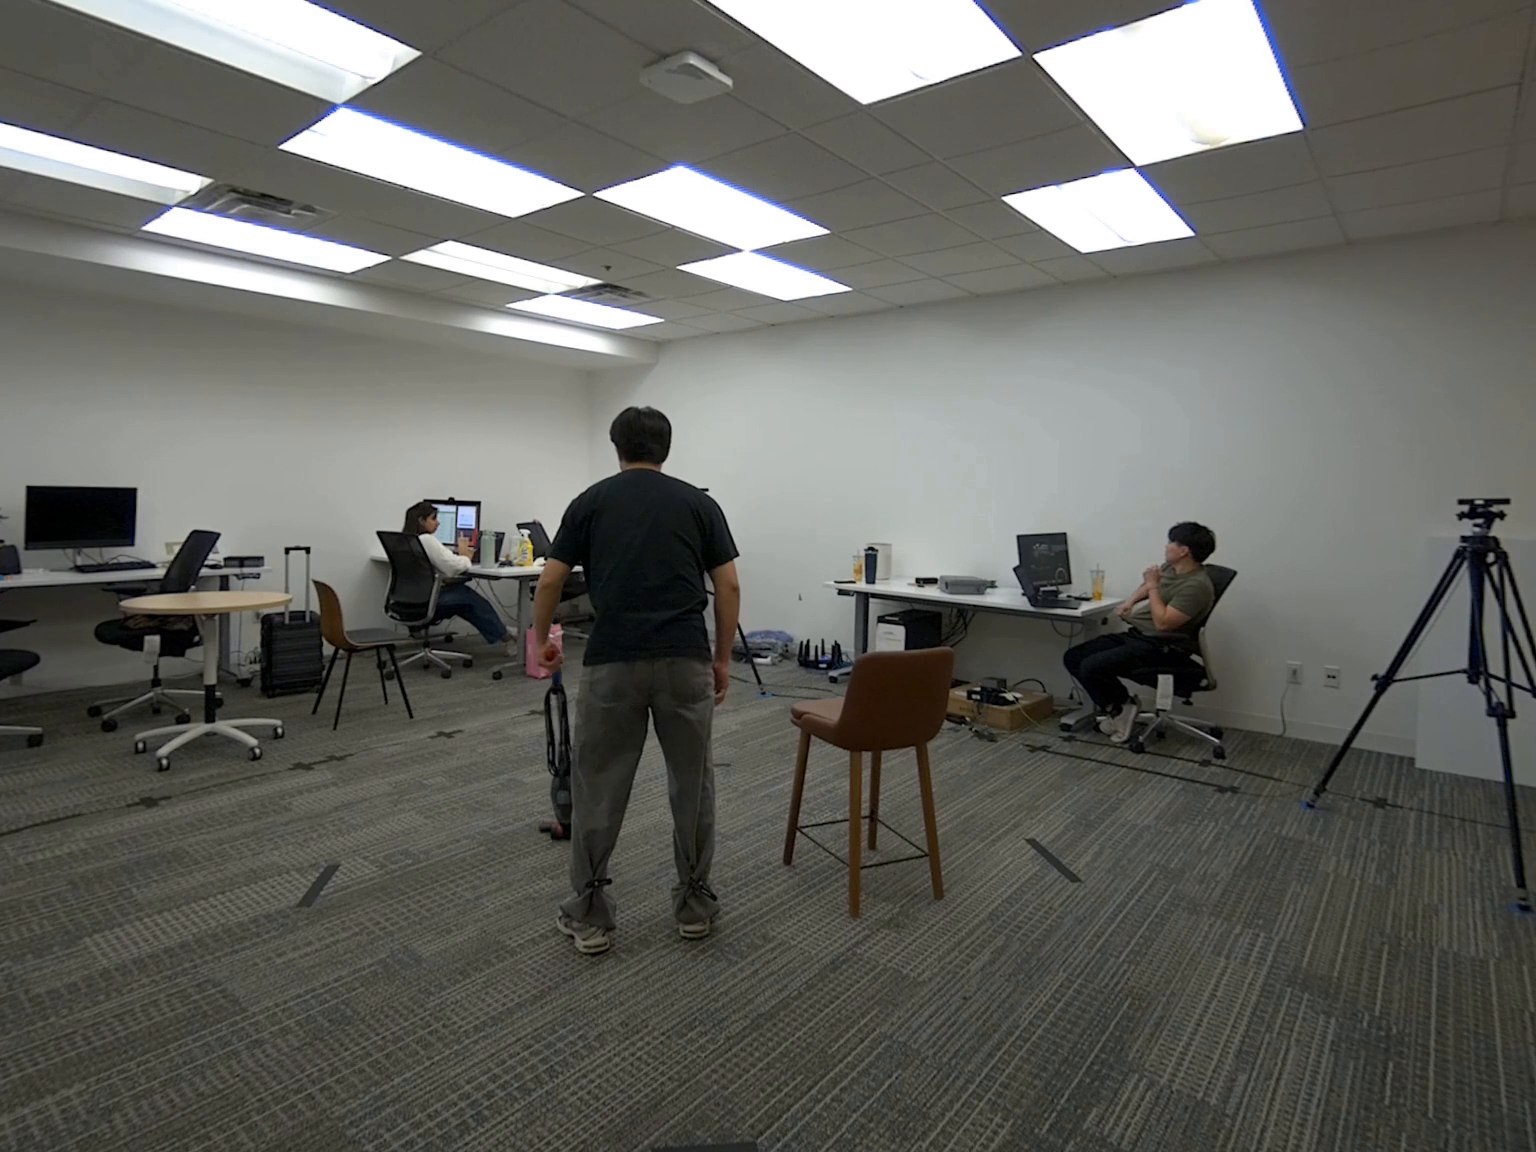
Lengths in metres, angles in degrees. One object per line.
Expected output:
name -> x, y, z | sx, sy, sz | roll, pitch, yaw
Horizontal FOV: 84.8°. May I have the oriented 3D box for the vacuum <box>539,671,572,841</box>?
vacuum -> -0.768, 0.636, 3.084 | 0.251, 1.023, 0.149 | 0, 41, -8
